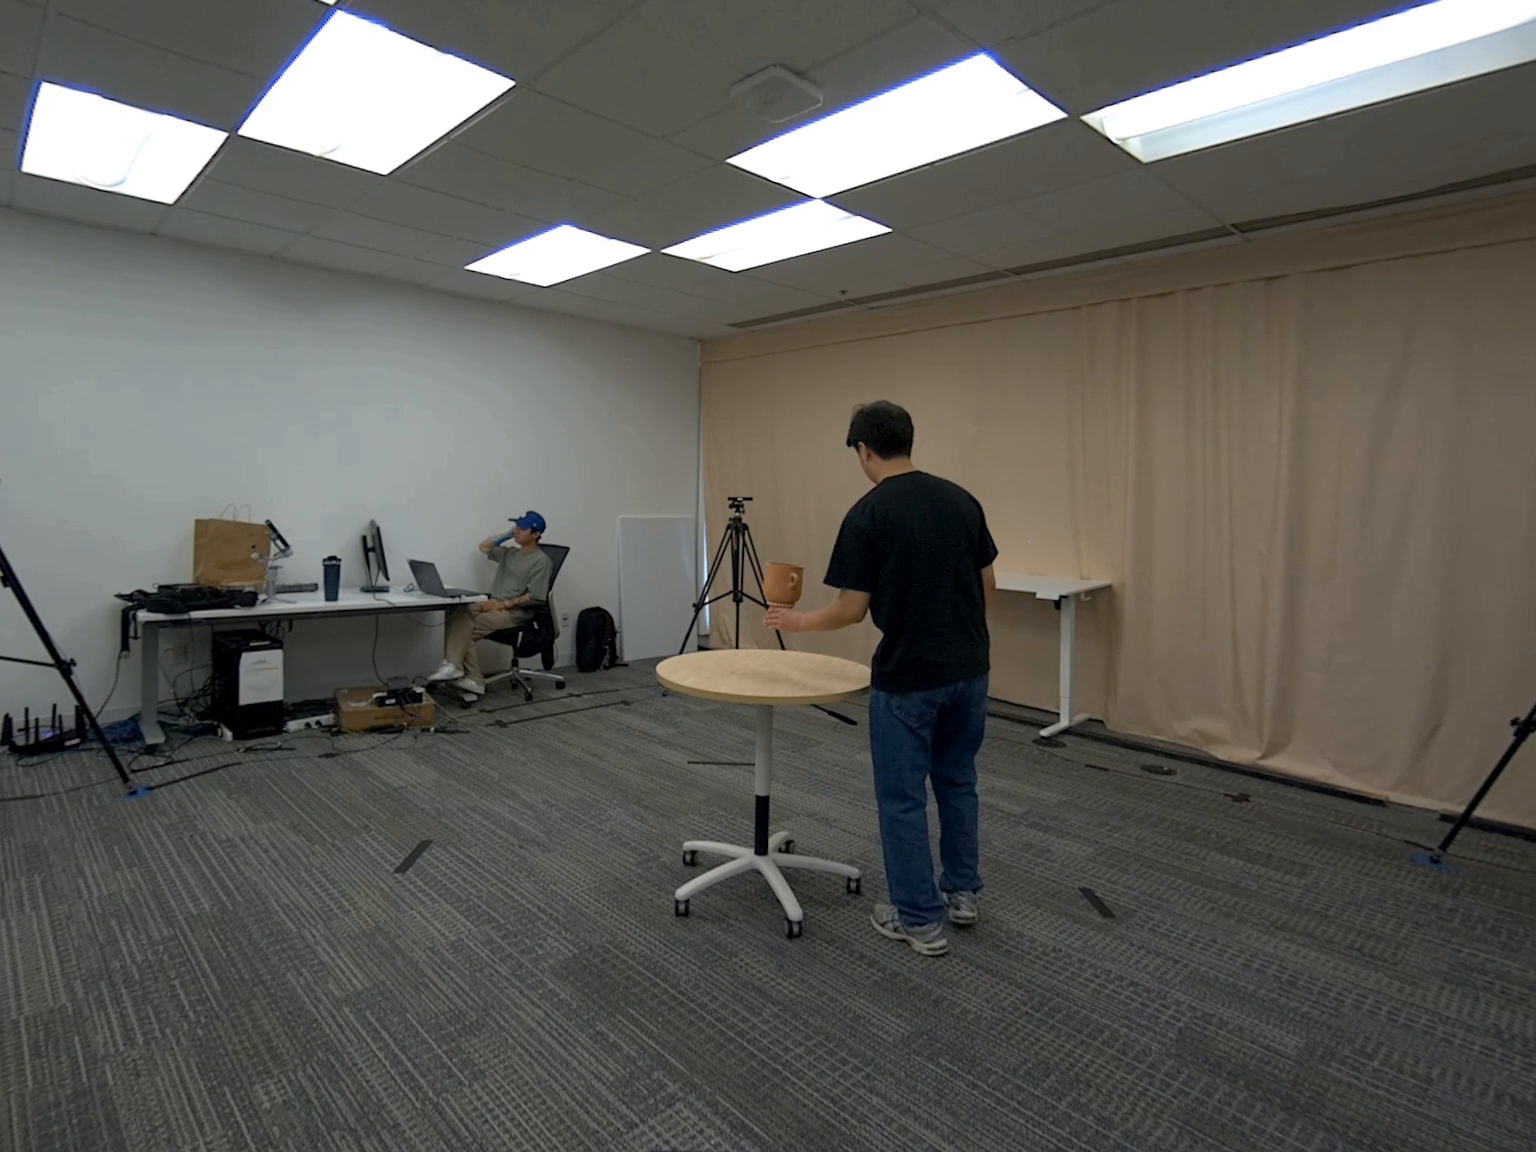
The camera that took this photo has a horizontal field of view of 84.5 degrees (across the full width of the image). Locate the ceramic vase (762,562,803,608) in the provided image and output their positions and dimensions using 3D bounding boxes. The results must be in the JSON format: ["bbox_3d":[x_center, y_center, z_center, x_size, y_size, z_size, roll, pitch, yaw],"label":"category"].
[{"bbox_3d":[0.039,0.073,2.902,0.136,0.219,0.157,4,2,14],"label":"ceramic vase"}]
